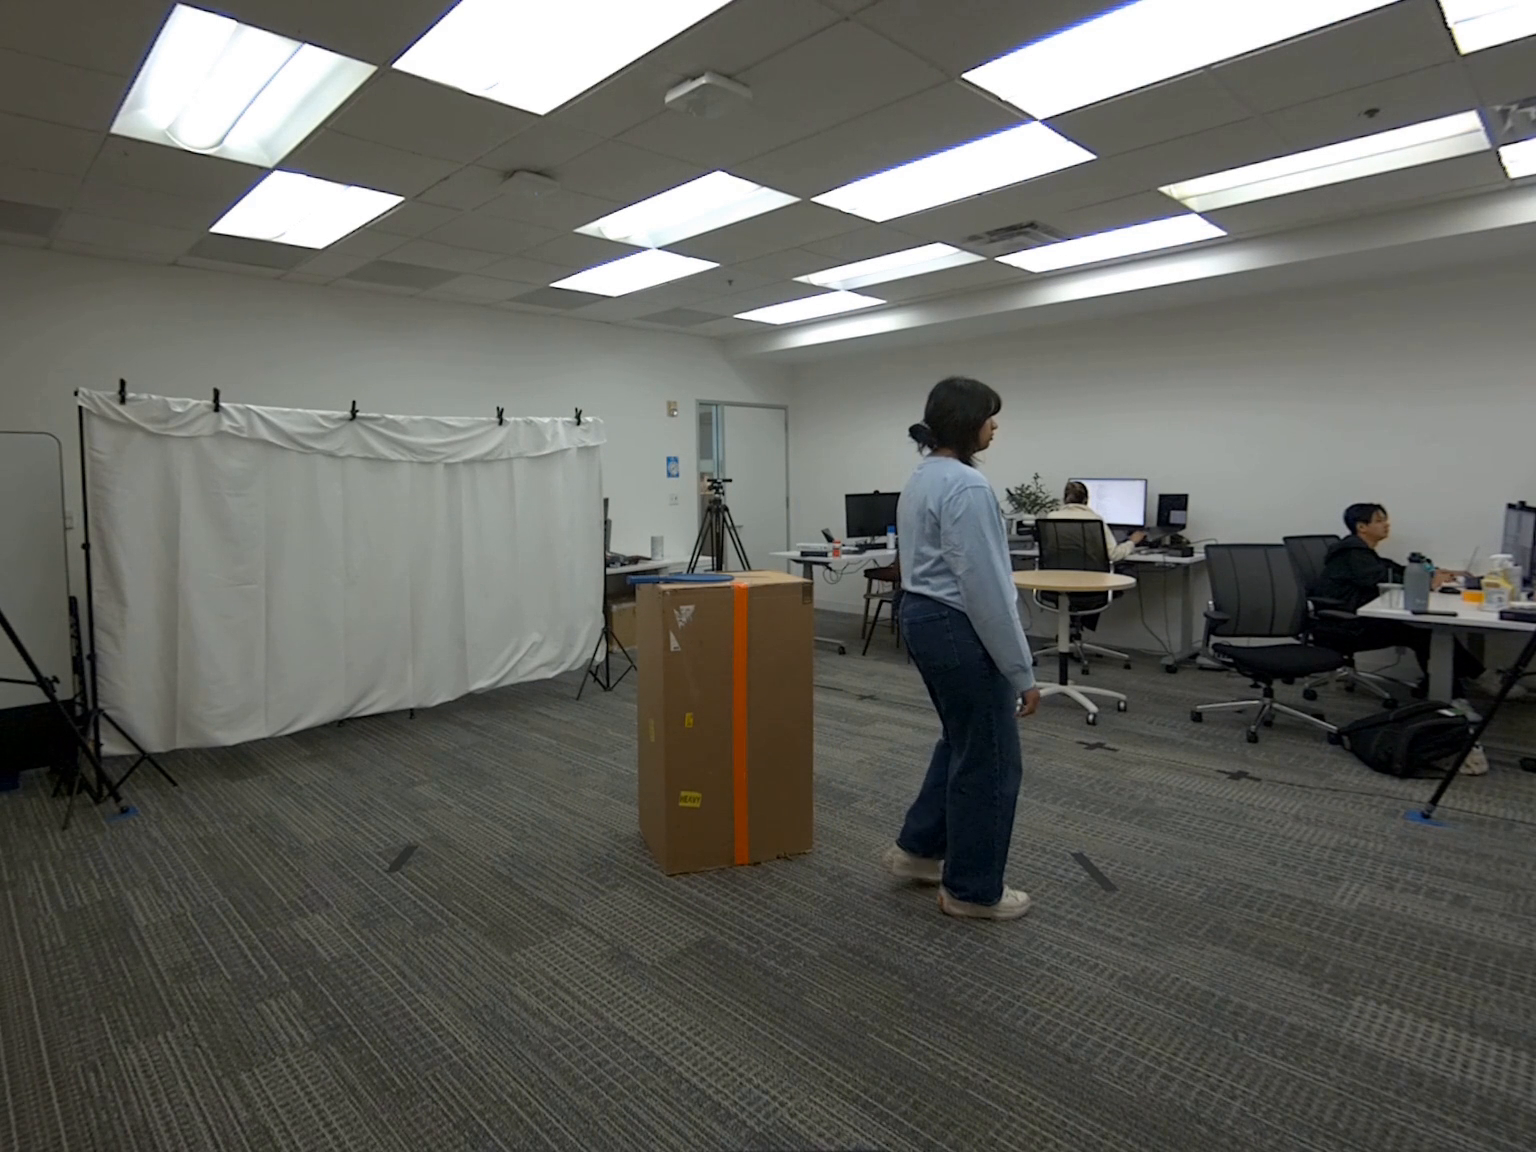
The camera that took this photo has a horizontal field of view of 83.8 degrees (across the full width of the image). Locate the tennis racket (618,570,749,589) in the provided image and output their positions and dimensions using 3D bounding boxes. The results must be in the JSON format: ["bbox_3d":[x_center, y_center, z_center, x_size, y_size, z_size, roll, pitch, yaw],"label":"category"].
[{"bbox_3d":[-0.308,0.010,3.143,0.421,0.031,0.220,-3,6,-38],"label":"tennis racket"}]
